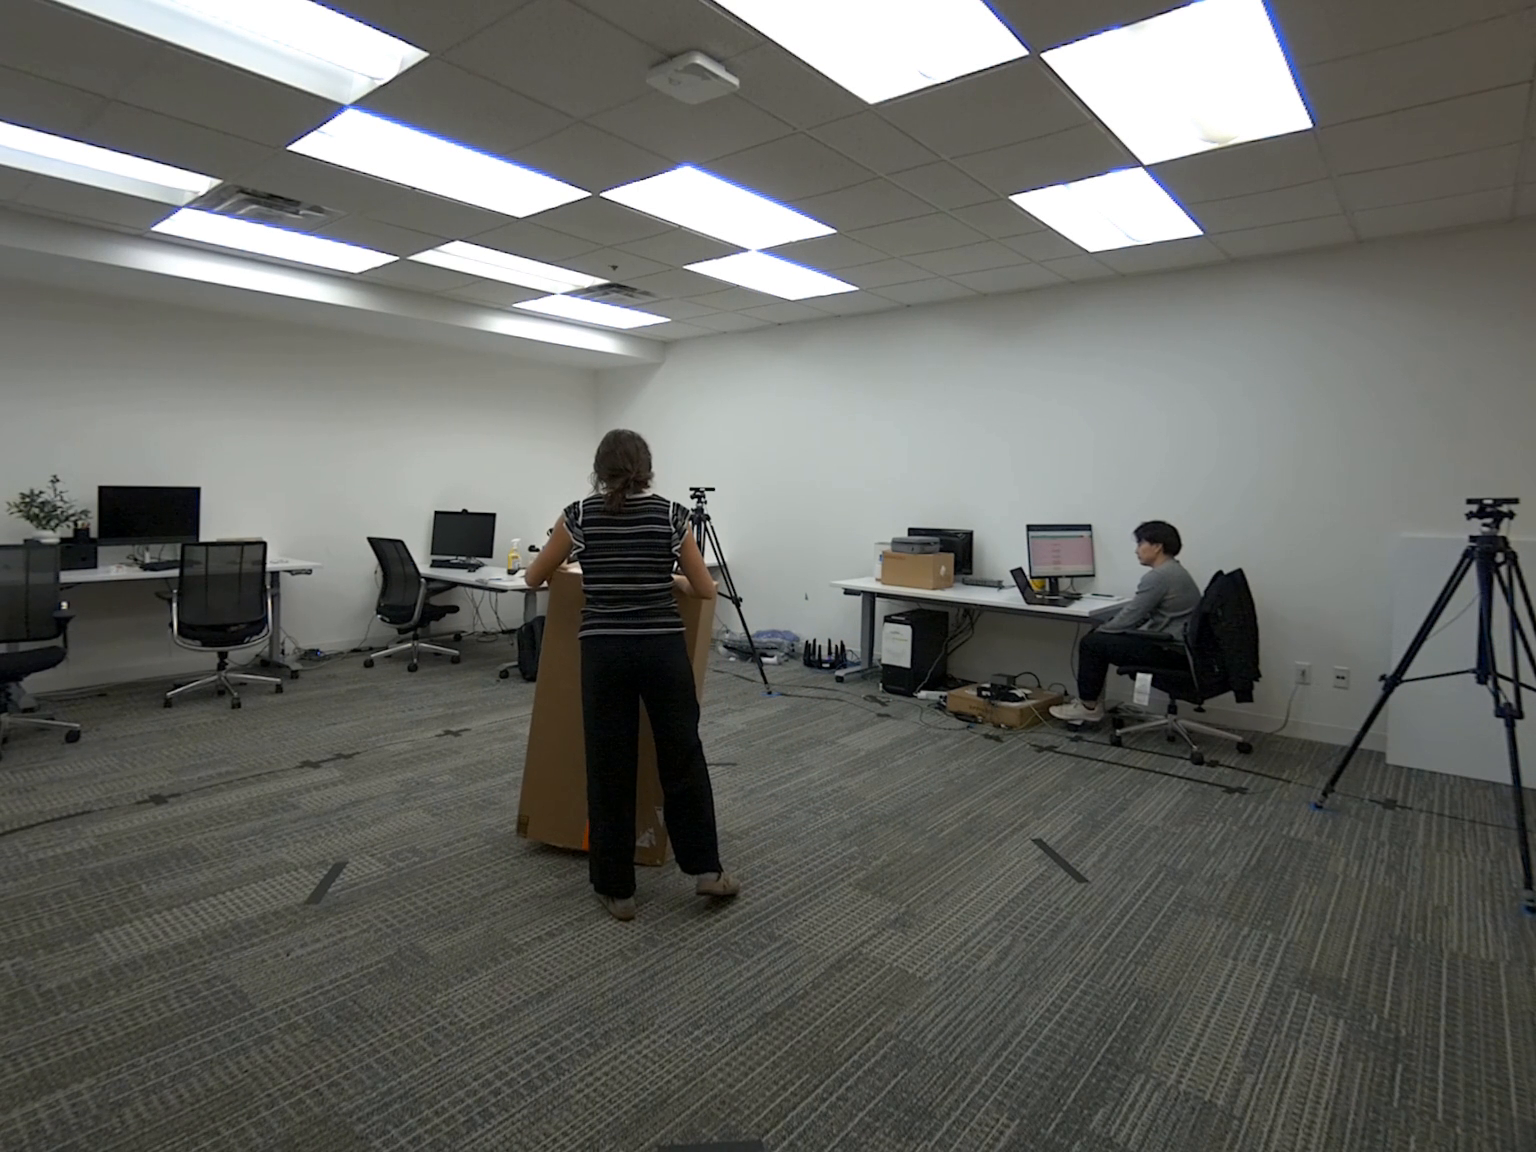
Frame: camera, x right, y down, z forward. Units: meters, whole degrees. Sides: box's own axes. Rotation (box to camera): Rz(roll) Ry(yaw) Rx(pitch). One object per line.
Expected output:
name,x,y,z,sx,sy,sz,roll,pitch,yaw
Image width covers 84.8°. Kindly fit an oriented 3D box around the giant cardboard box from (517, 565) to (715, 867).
giant cardboard box,-0.593,0.506,3.328,0.582,1.023,0.424,9,3,5
